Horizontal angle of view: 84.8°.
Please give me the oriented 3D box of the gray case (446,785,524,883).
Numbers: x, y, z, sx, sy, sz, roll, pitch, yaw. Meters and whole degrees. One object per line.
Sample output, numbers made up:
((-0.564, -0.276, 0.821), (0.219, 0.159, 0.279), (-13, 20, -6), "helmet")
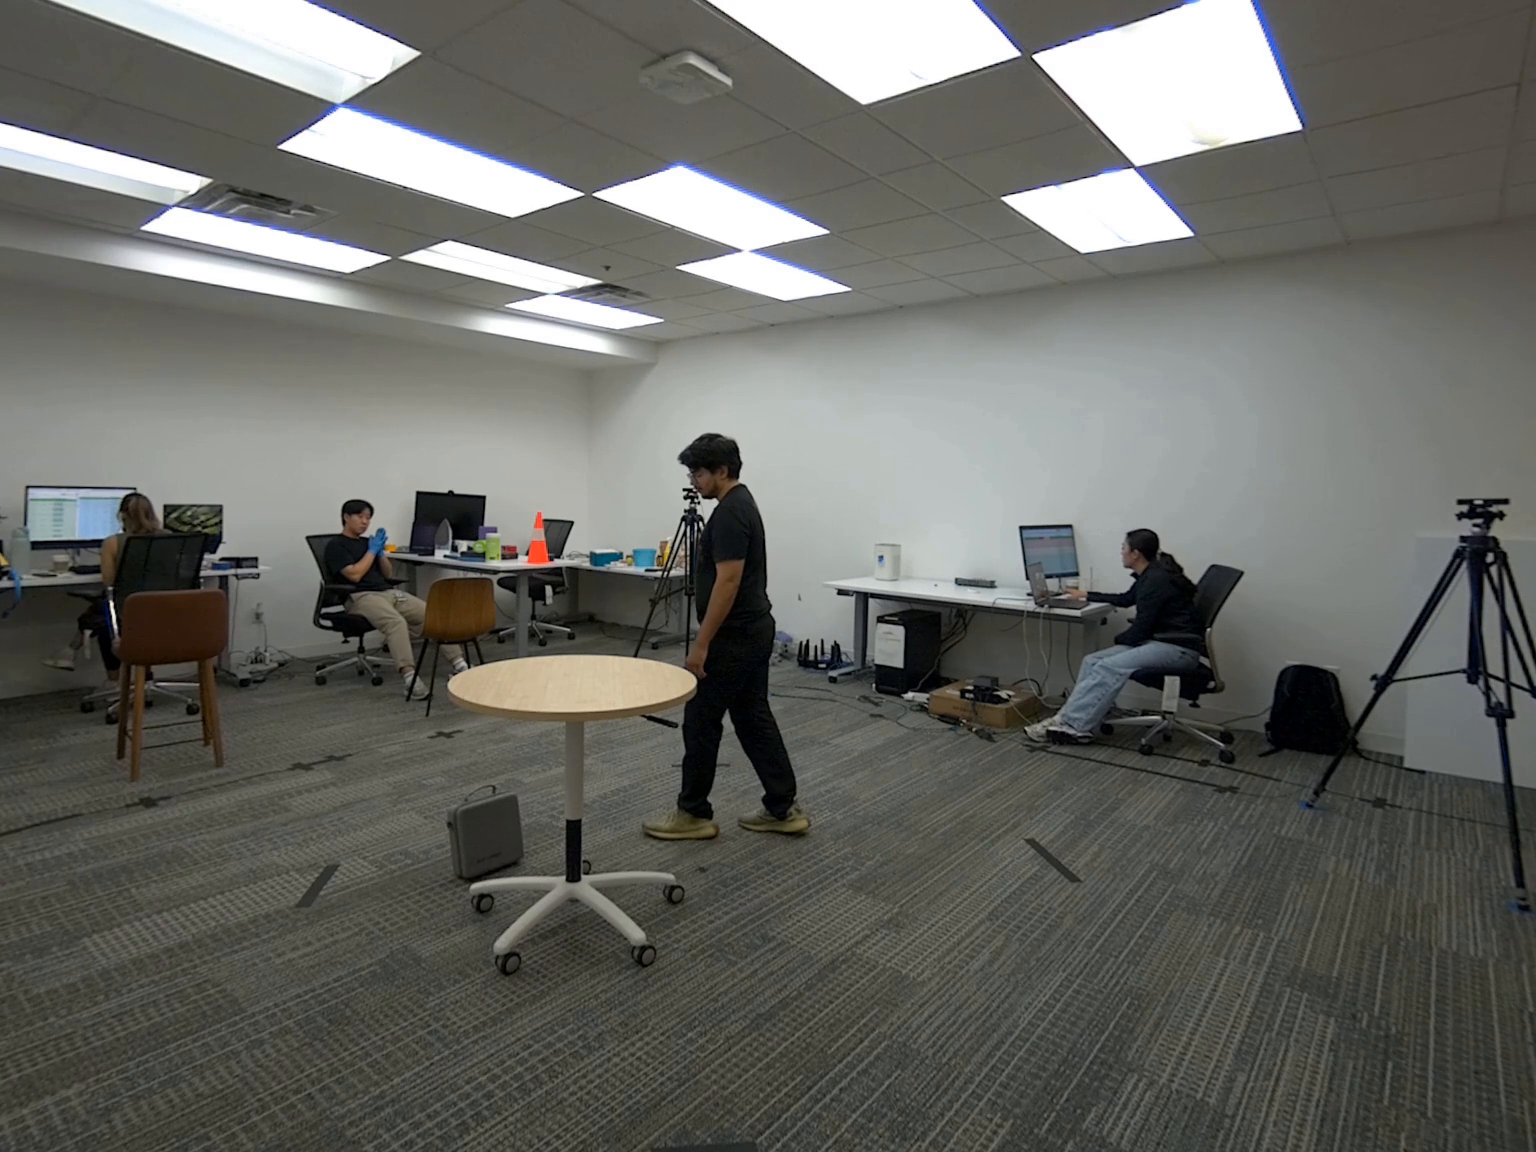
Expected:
((-1.037, 0.924, 3.087), (0.107, 0.262, 0.249), (-11, -4, 42), "gray case")
